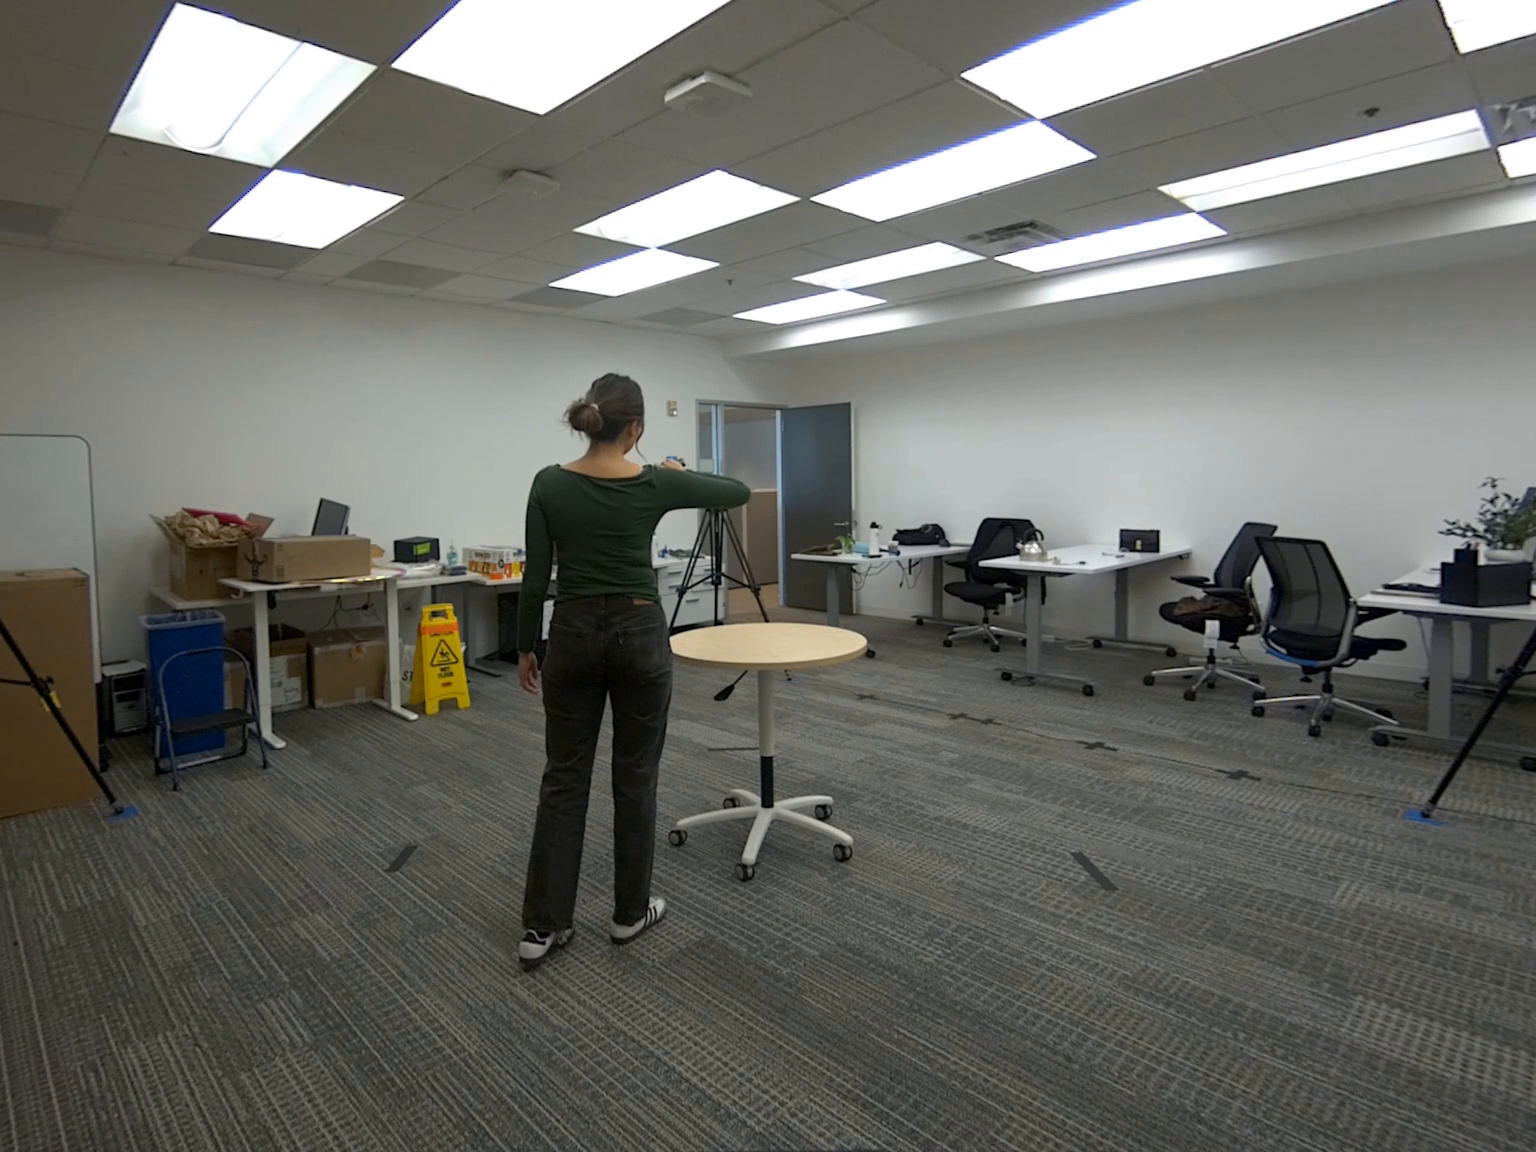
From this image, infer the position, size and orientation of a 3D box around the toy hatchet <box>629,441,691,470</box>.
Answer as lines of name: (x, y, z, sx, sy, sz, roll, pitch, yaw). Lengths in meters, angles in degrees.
toy hatchet: (-0.403, -0.368, 2.909, 0.272, 0.135, 0.028, -16, -41, 8)
